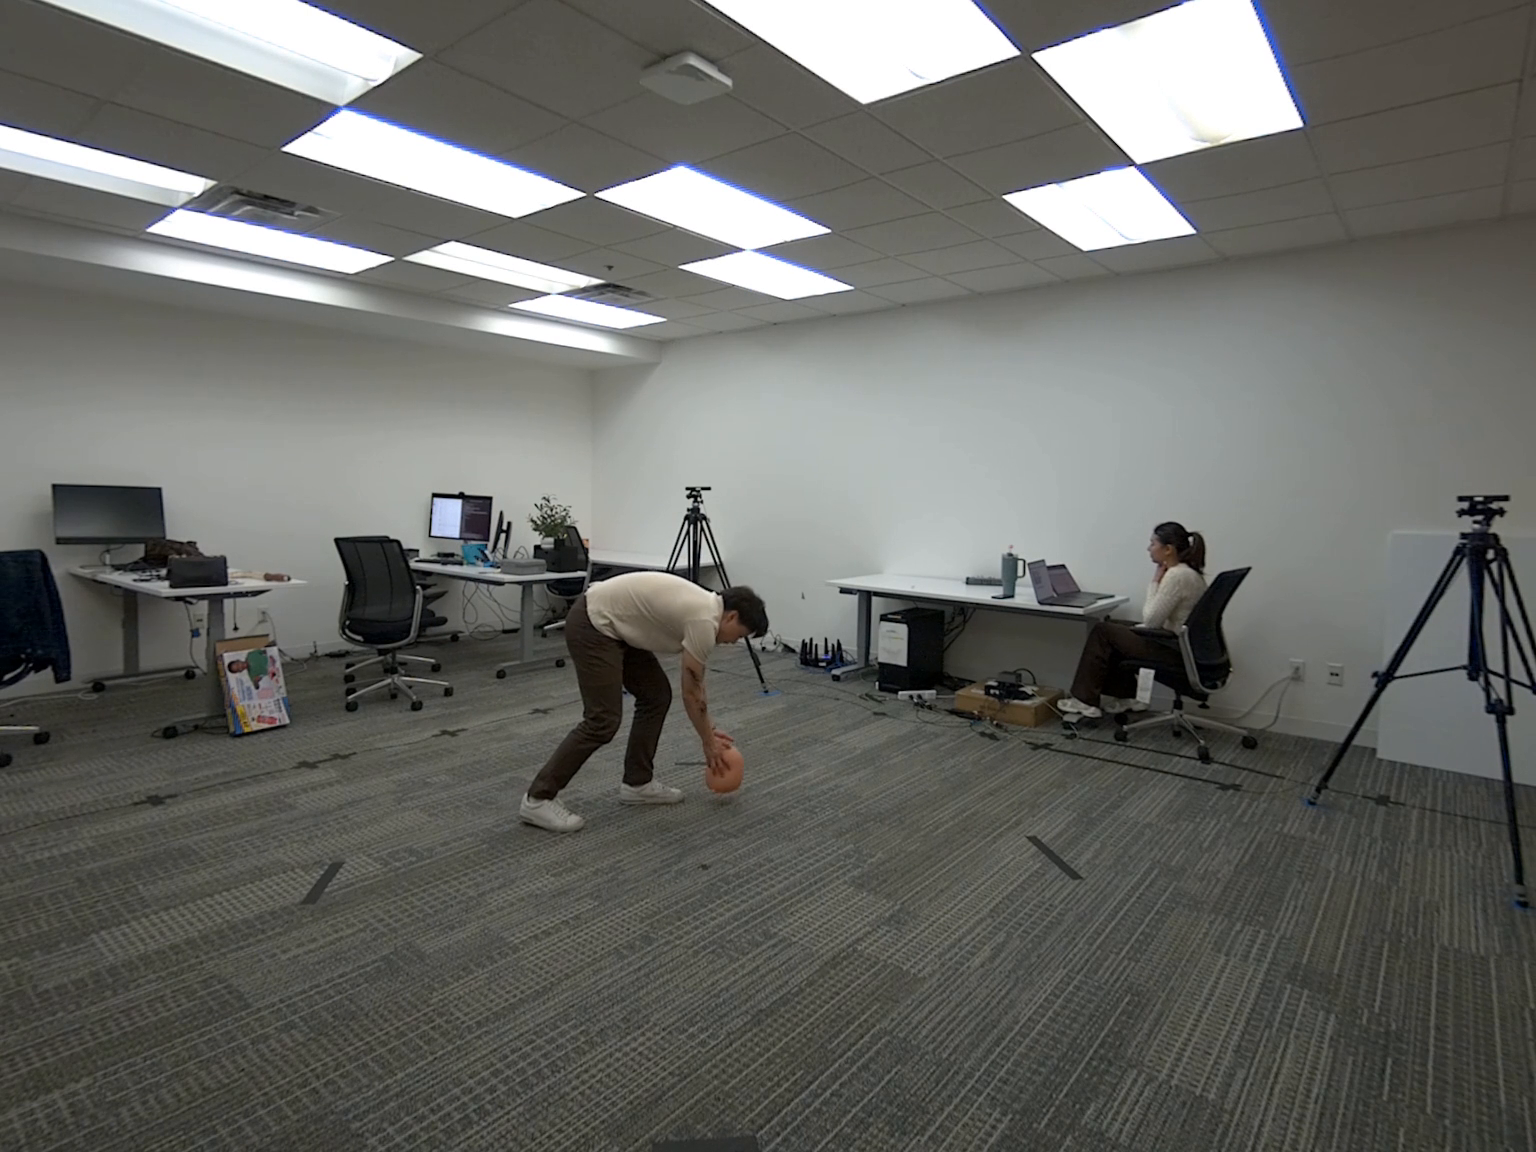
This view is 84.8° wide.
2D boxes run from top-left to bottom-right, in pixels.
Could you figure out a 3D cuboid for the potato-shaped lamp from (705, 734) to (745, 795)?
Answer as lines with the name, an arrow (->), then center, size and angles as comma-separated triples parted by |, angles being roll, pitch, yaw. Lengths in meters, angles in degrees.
potato-shaped lamp -> -0.199, 0.829, 3.760 | 0.167, 0.196, 0.170 | 1, 13, -27
